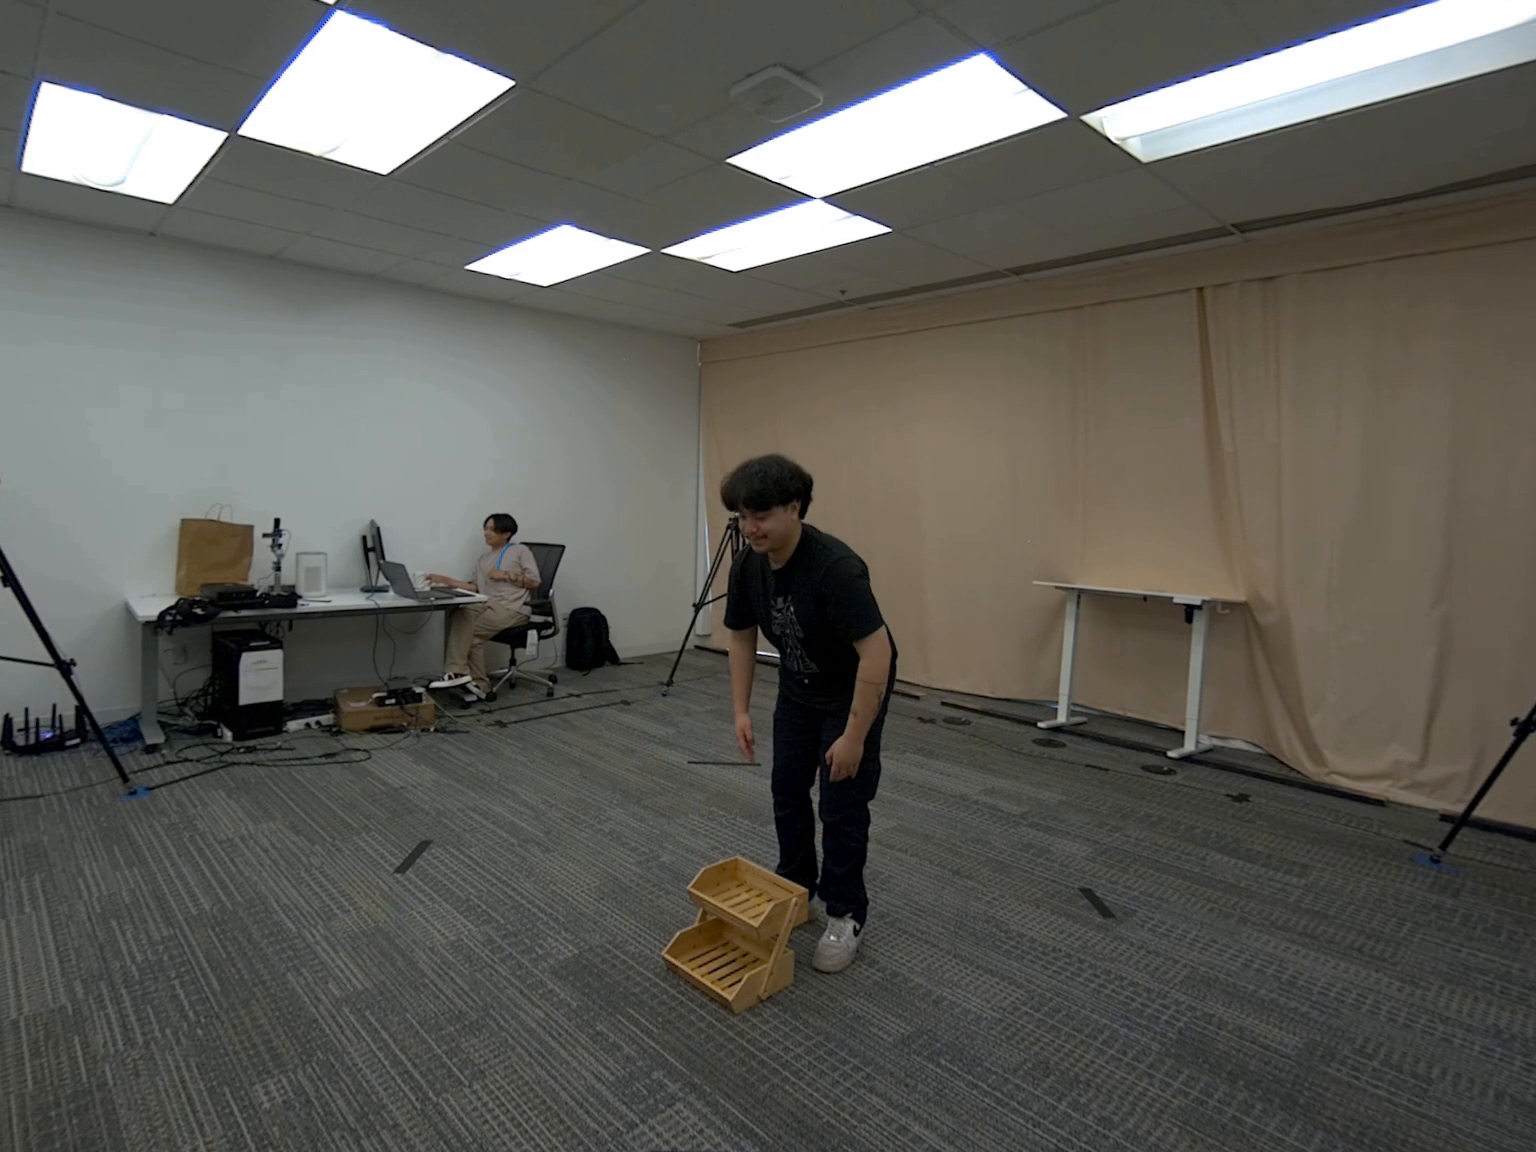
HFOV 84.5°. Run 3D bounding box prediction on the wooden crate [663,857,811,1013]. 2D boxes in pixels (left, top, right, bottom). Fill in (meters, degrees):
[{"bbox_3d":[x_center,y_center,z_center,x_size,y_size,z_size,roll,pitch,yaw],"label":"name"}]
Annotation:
[{"bbox_3d":[-0.109,1.033,2.455,0.333,0.272,0.295,7,6,44],"label":"wooden crate"}]
